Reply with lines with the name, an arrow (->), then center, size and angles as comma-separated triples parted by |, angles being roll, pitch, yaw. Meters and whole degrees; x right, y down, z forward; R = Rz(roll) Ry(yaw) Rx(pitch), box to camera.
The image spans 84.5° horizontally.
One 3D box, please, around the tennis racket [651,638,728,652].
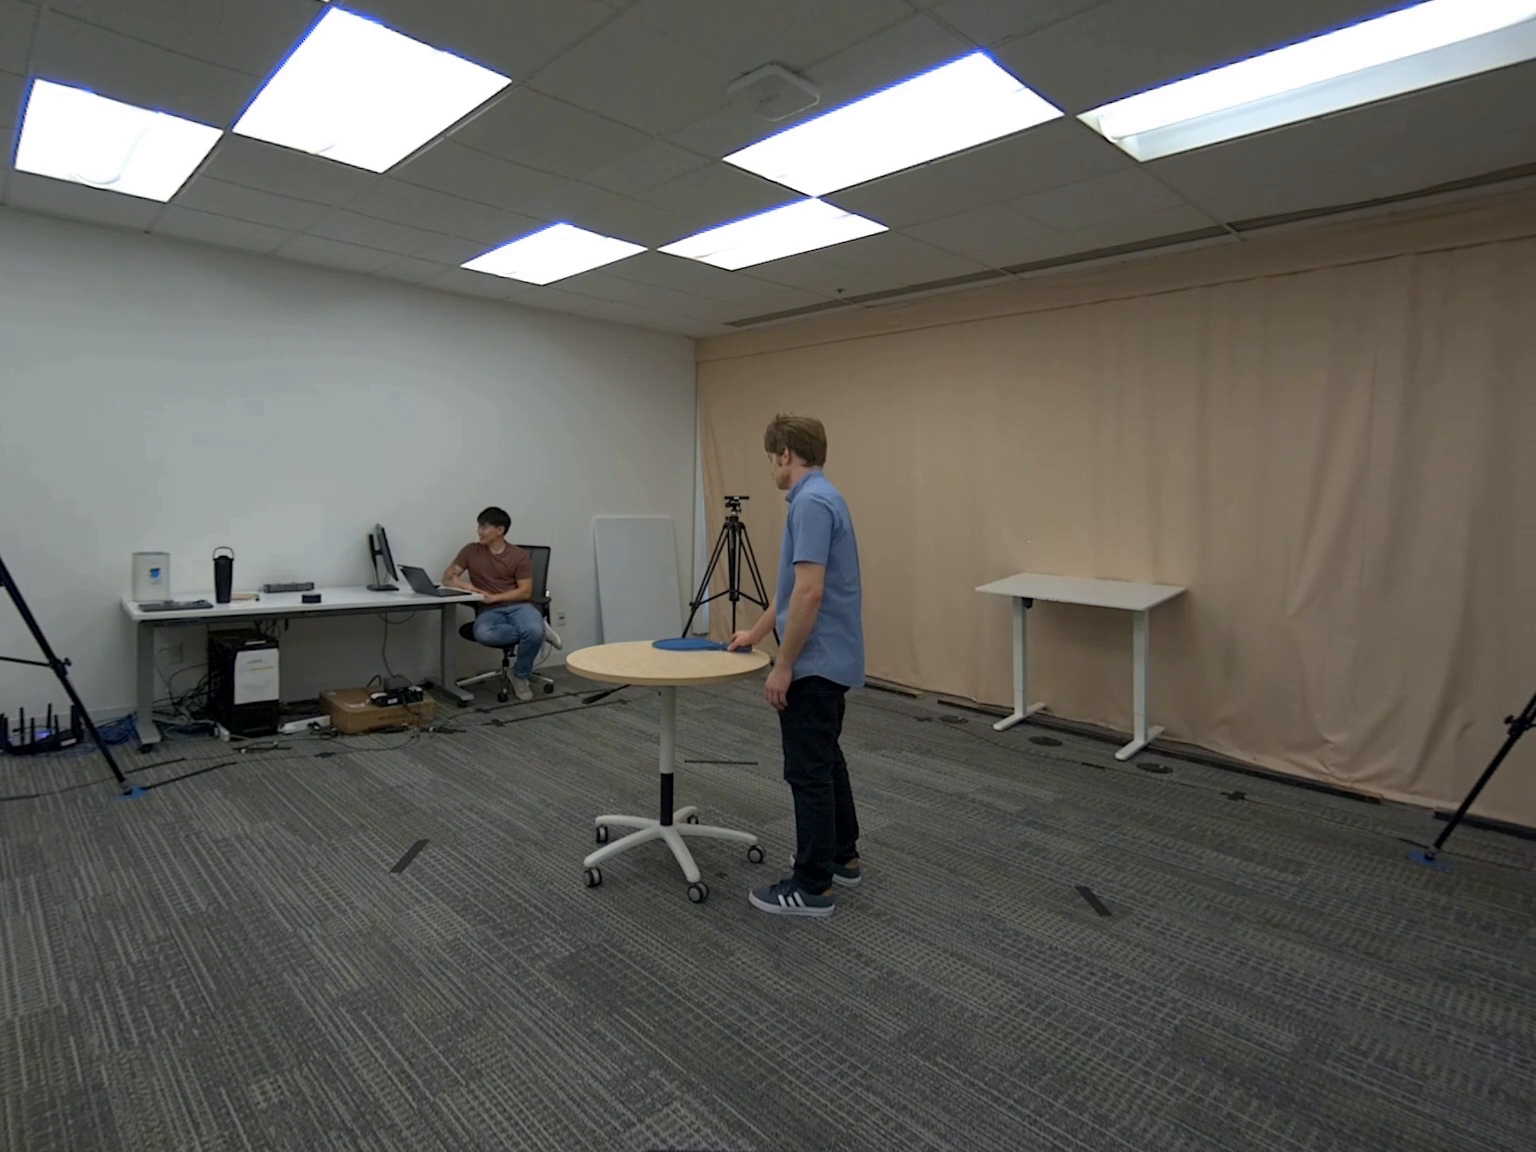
tennis racket -> -0.279, 0.282, 3.389 | 0.441, 0.031, 0.211 | 1, 7, 25
